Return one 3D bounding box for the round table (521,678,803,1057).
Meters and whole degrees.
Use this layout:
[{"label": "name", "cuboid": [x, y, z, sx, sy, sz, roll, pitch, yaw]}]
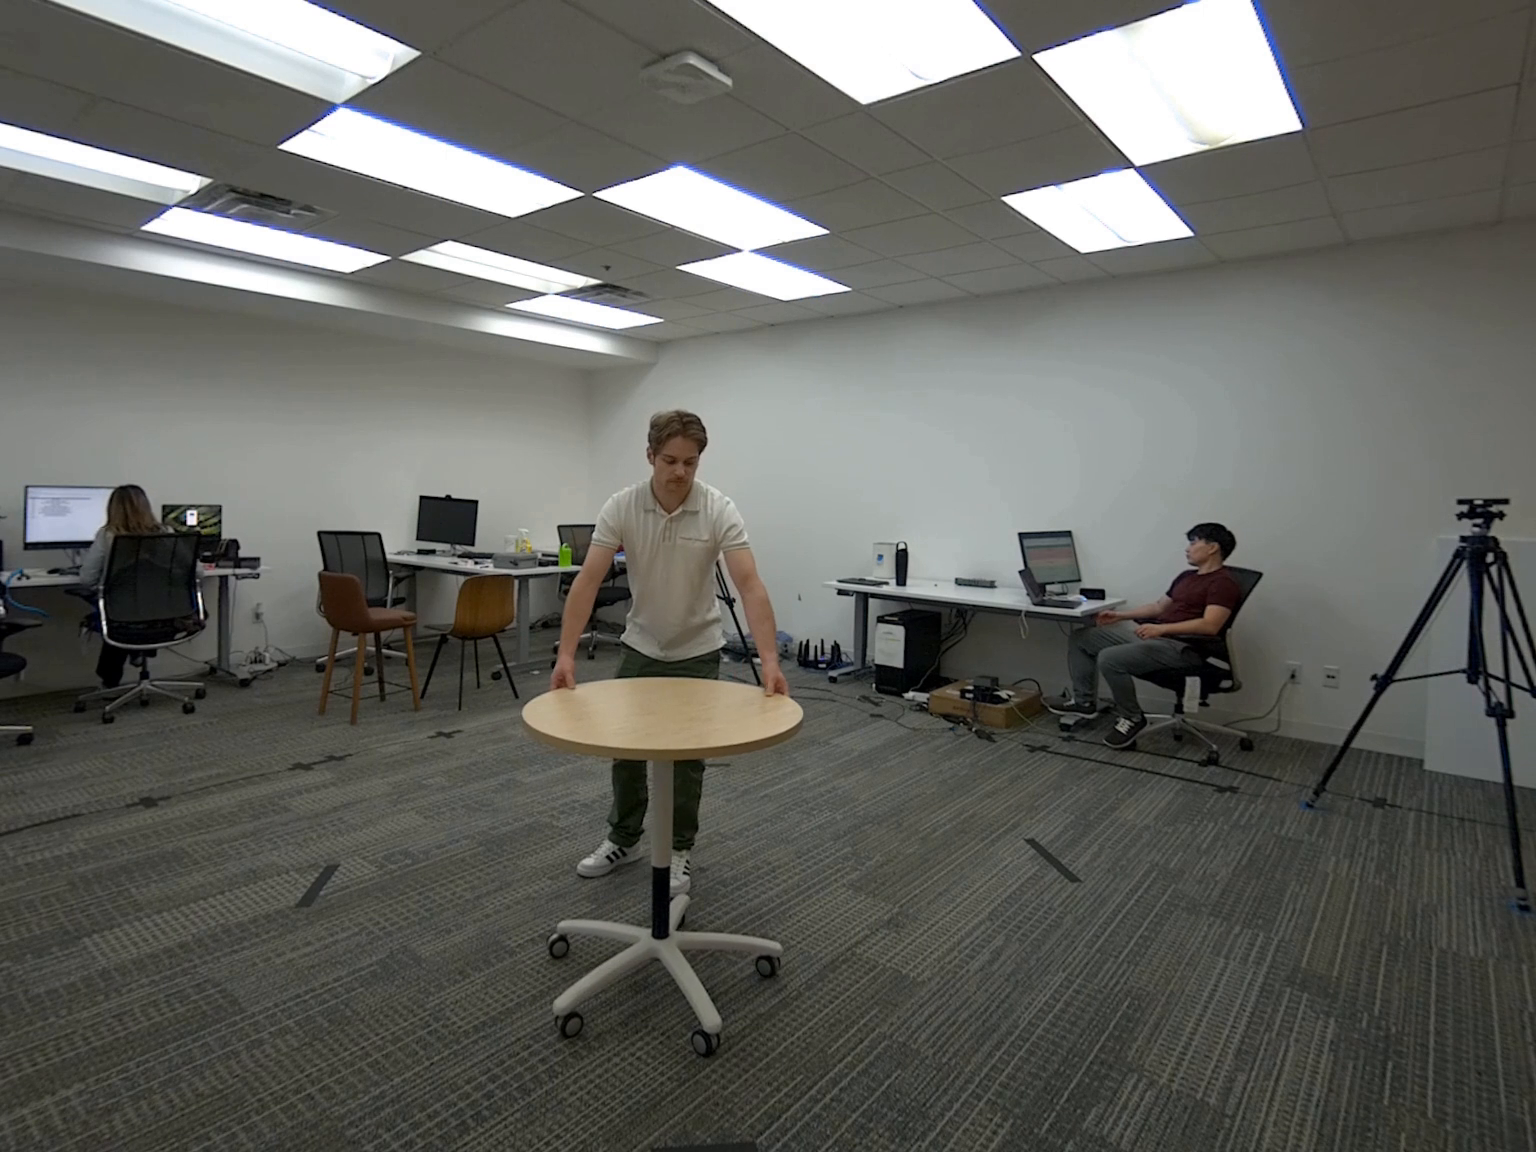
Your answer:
[{"label": "round table", "cuboid": [-0.310, 0.753, 2.366, 0.763, 0.791, 0.768, 1, 4, -2]}]
